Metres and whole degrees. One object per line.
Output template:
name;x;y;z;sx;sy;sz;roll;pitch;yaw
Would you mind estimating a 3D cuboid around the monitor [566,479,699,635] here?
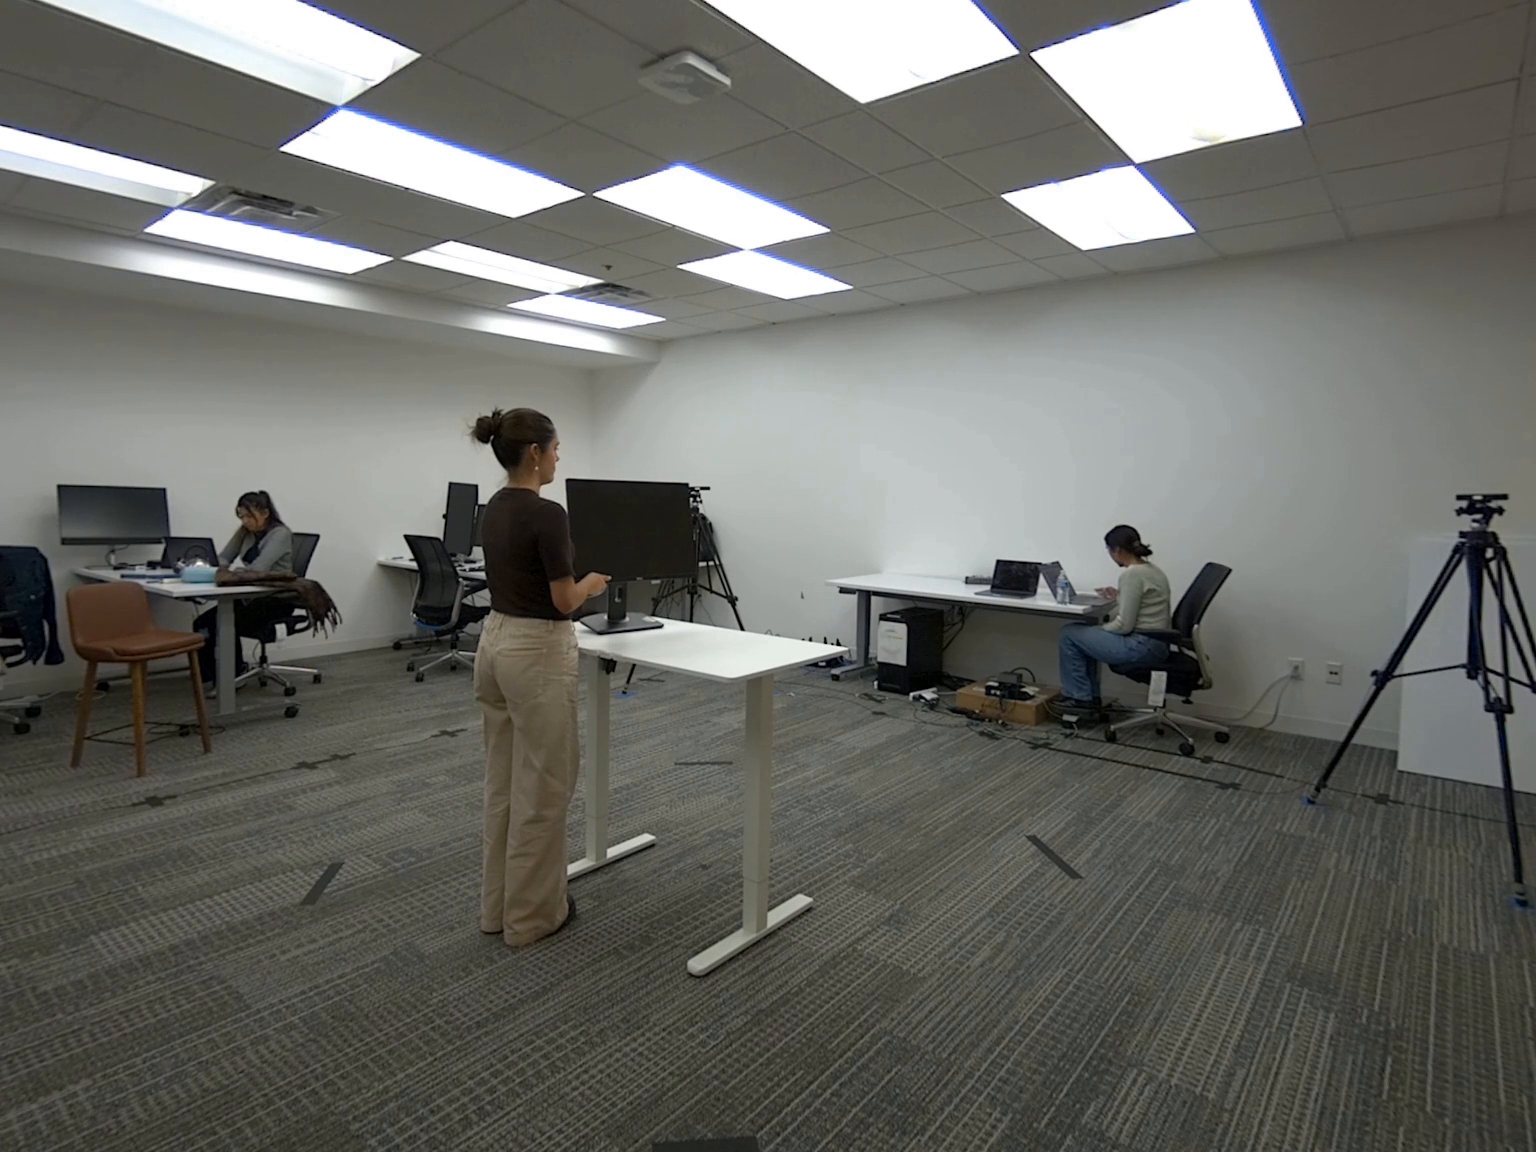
monitor;-0.506;-0.075;2.991;0.194;0.520;0.522;11;9;44
